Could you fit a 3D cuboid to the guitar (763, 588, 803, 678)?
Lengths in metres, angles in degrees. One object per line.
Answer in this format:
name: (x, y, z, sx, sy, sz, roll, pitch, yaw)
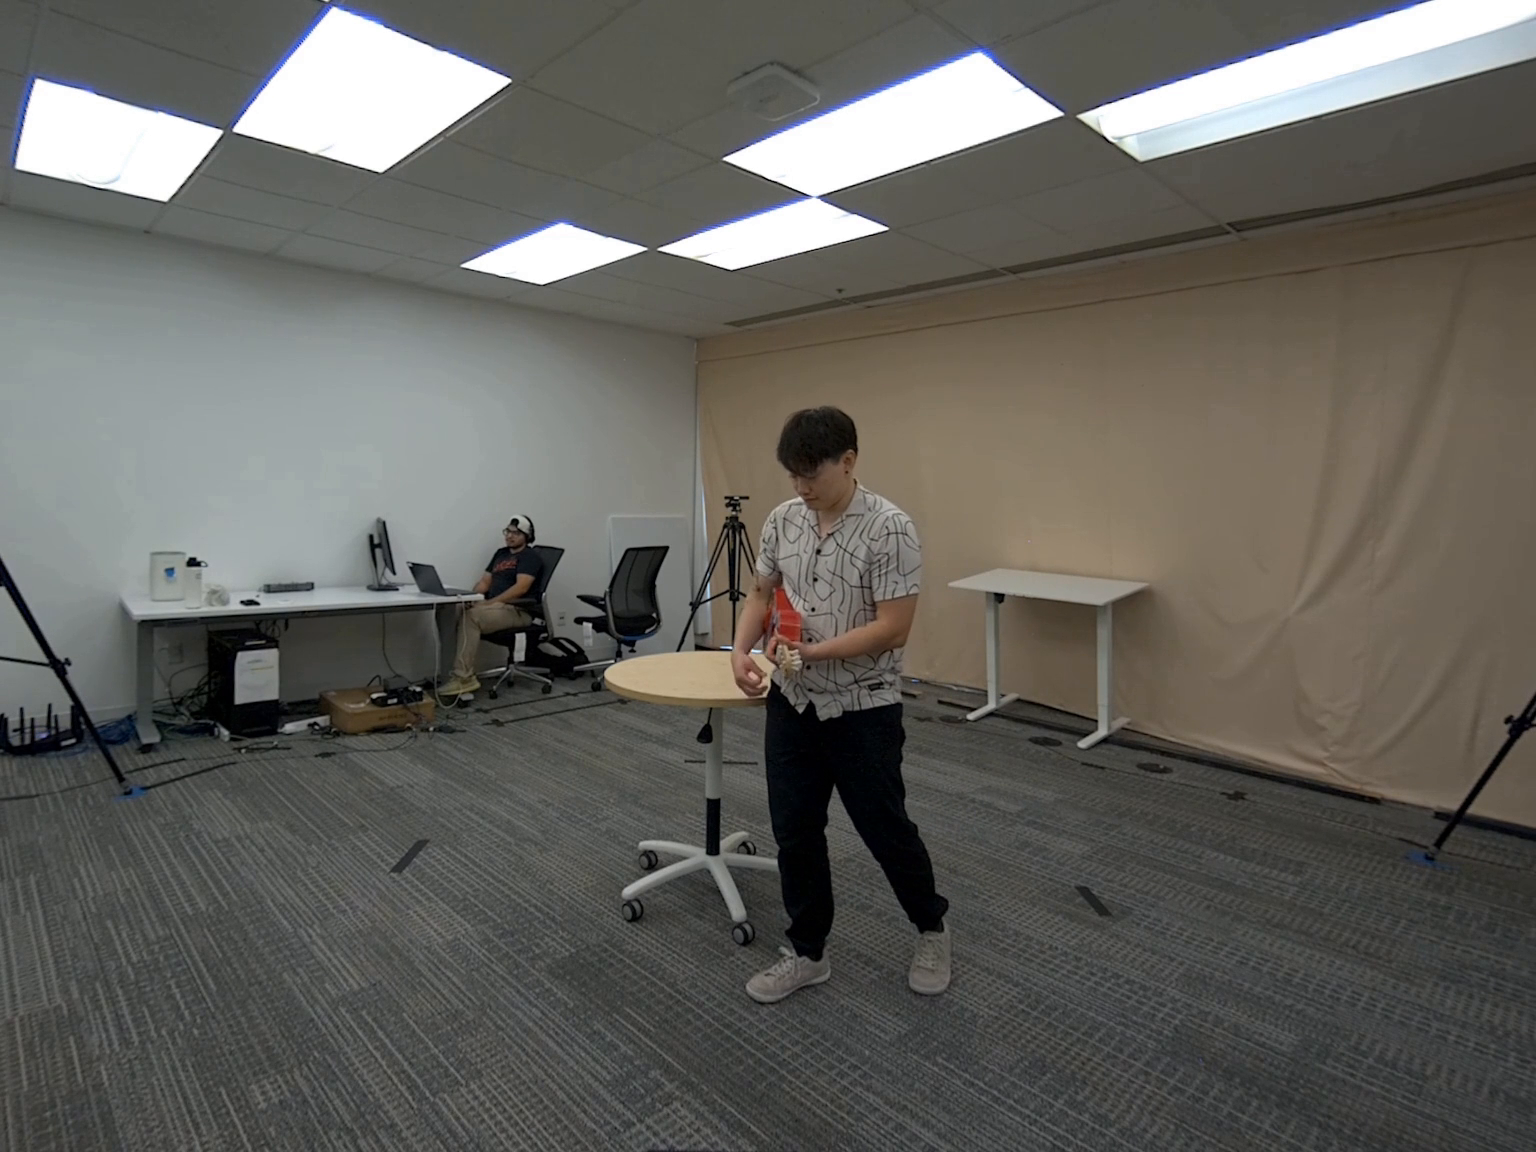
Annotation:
guitar: (0.034, 0.202, 2.260, 0.070, 0.191, 0.505, 11, 20, -6)
